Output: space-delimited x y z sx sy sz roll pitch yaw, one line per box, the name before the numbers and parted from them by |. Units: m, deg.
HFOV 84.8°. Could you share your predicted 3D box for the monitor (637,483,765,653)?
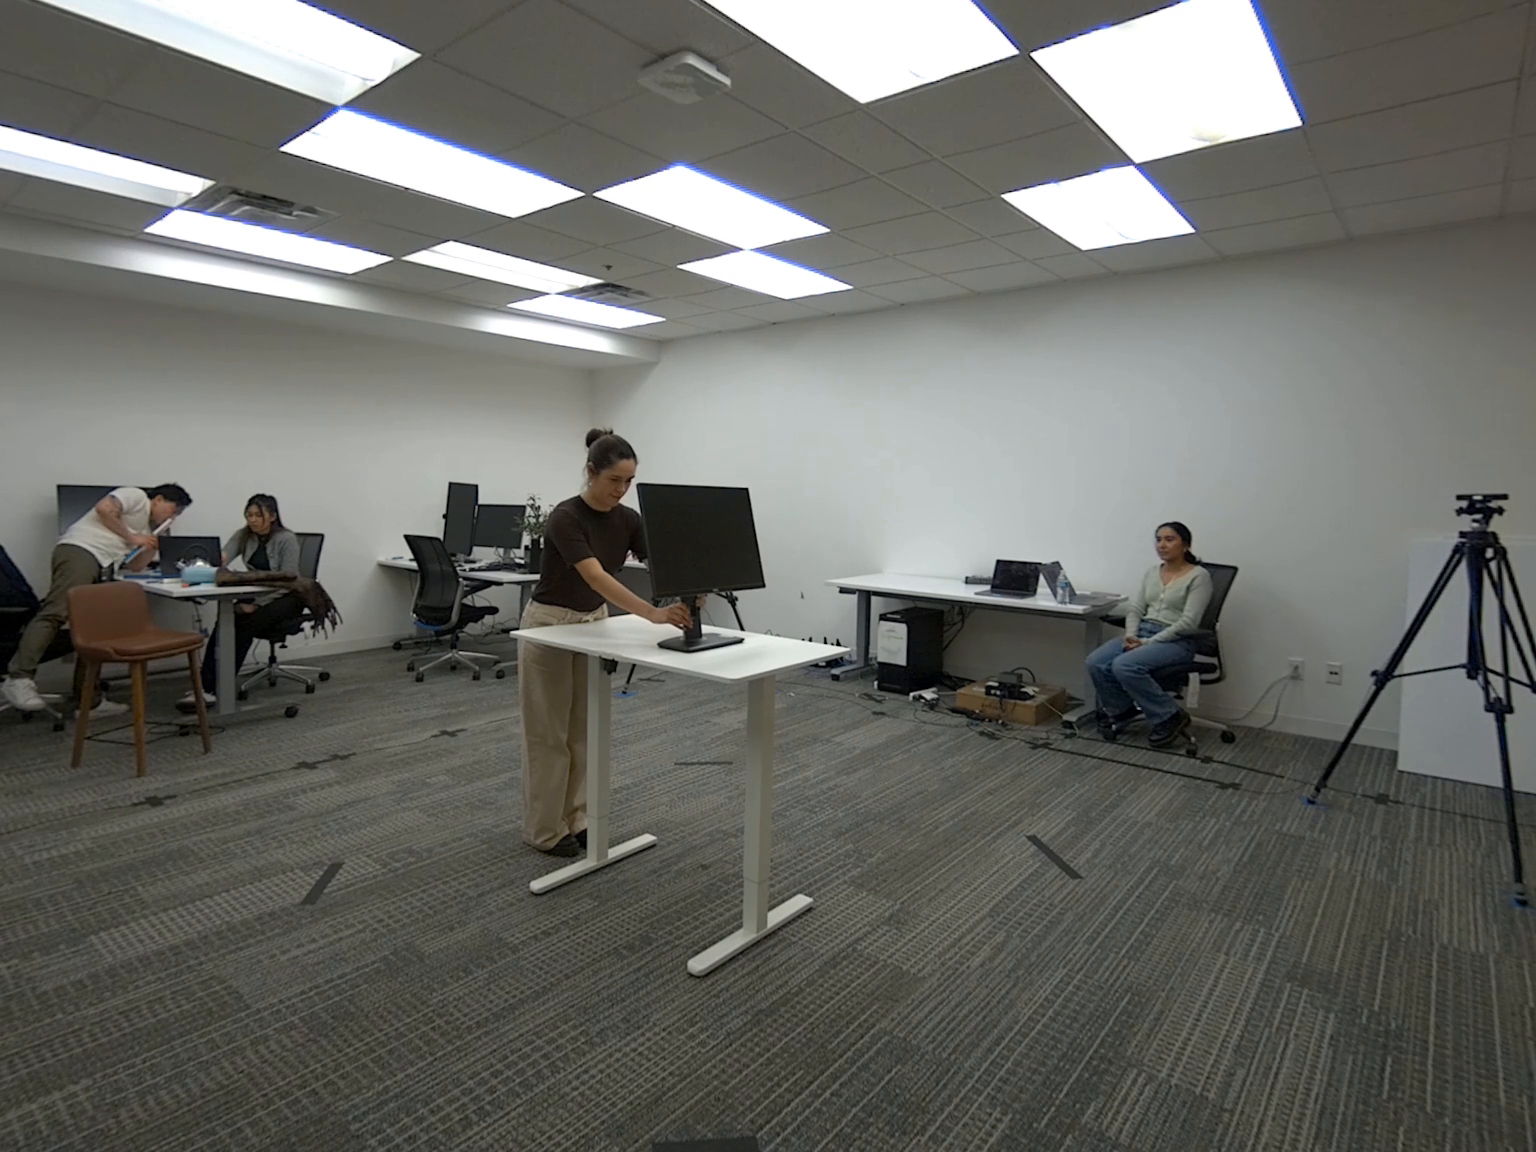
monitor | -0.233 -0.036 2.744 0.180 0.514 0.514 7 6 36
